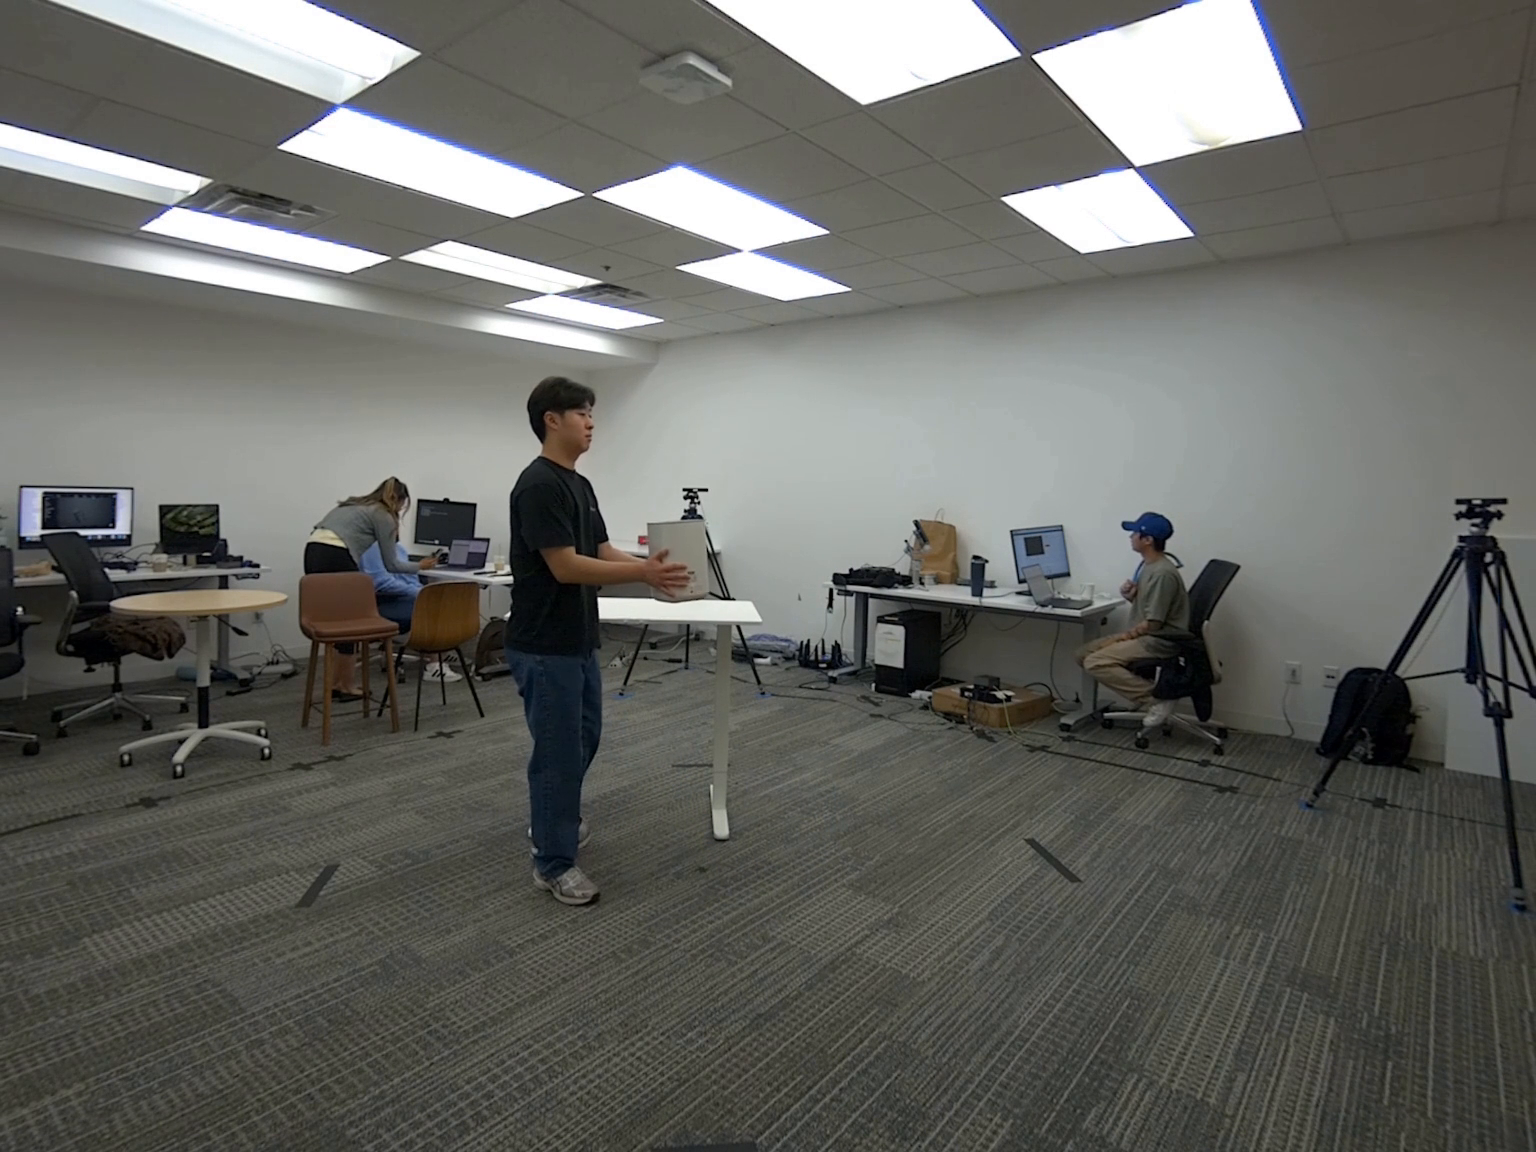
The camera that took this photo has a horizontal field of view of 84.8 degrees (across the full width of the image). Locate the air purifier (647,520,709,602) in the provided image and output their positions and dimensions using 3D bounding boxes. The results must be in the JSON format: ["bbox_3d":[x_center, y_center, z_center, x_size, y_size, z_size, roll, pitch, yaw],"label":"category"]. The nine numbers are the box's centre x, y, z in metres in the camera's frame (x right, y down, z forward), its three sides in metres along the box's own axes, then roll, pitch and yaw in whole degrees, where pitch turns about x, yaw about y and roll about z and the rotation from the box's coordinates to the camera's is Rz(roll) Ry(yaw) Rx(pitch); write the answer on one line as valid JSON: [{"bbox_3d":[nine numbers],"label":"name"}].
[{"bbox_3d":[-0.315,-0.051,2.832,0.166,0.264,0.177,-5,4,-33],"label":"air purifier"}]
